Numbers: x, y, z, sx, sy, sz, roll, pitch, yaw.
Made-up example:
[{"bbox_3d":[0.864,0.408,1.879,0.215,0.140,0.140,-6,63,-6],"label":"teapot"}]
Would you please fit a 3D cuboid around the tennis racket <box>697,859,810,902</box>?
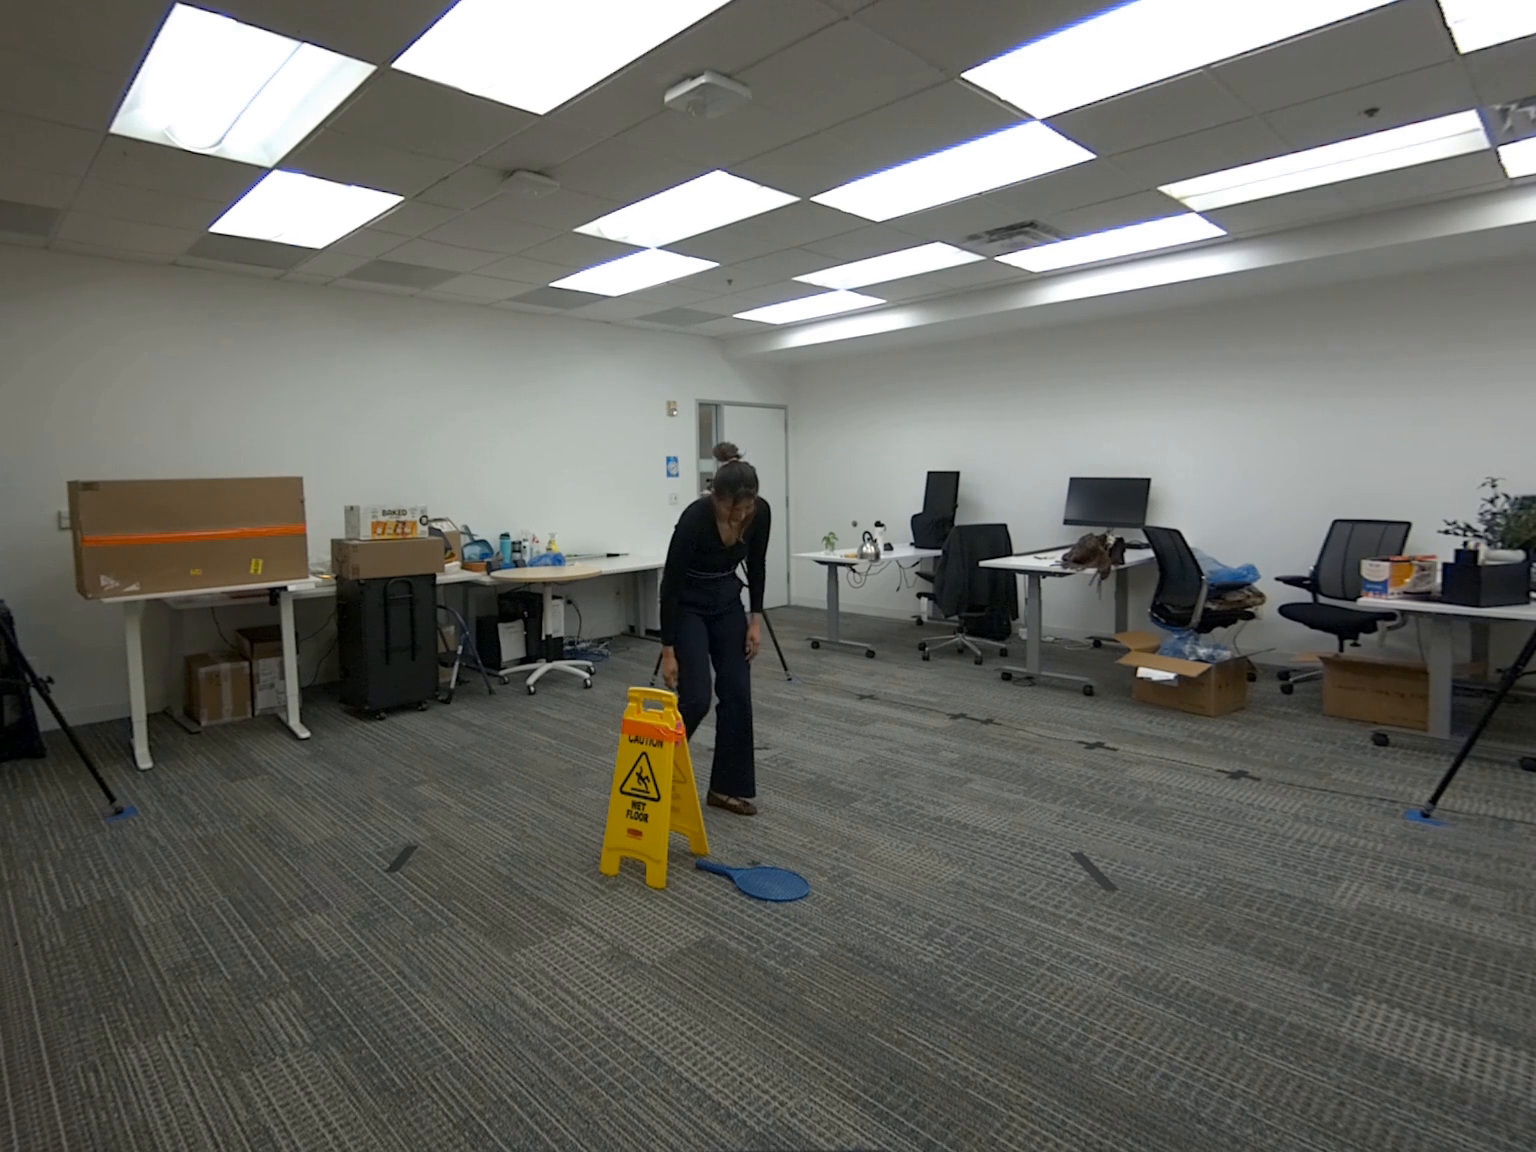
[{"bbox_3d":[-0.063,1.040,2.971,0.444,0.031,0.209,4,8,28],"label":"tennis racket"}]
